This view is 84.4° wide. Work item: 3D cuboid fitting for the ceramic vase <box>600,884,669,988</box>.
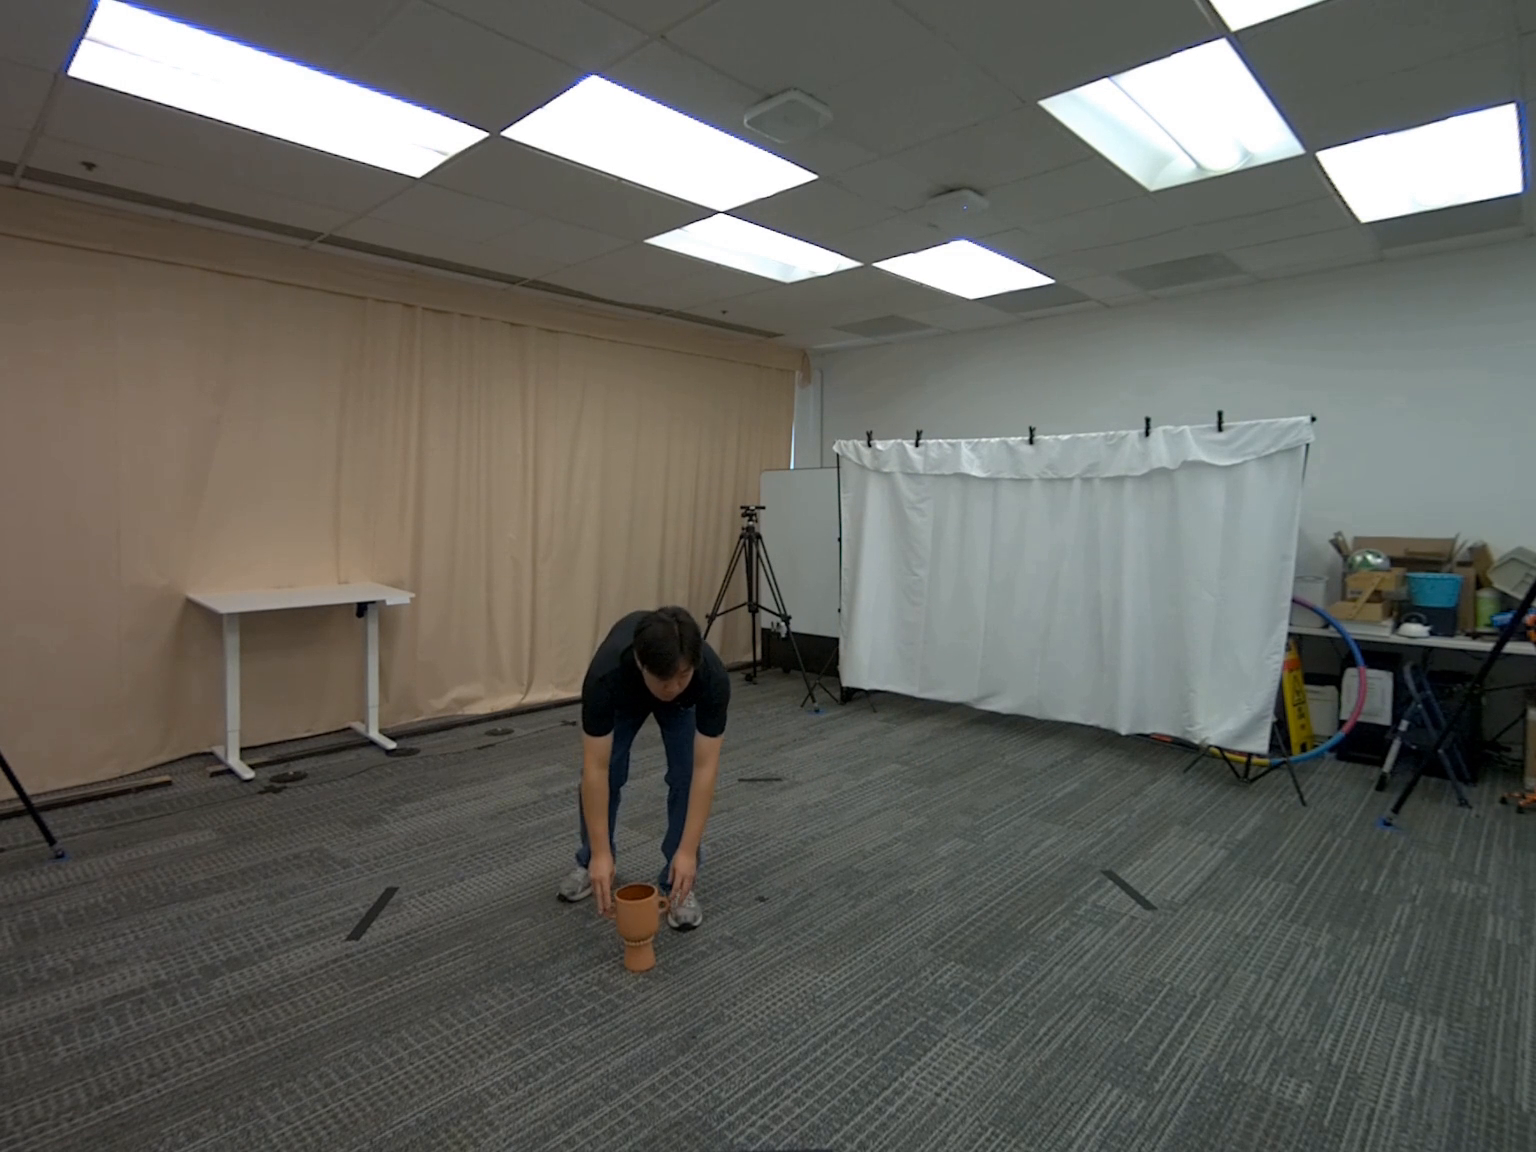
[{"bbox_3d":[-0.401,1.076,2.549,0.137,0.219,0.156,-2,3,19],"label":"ceramic vase"}]
